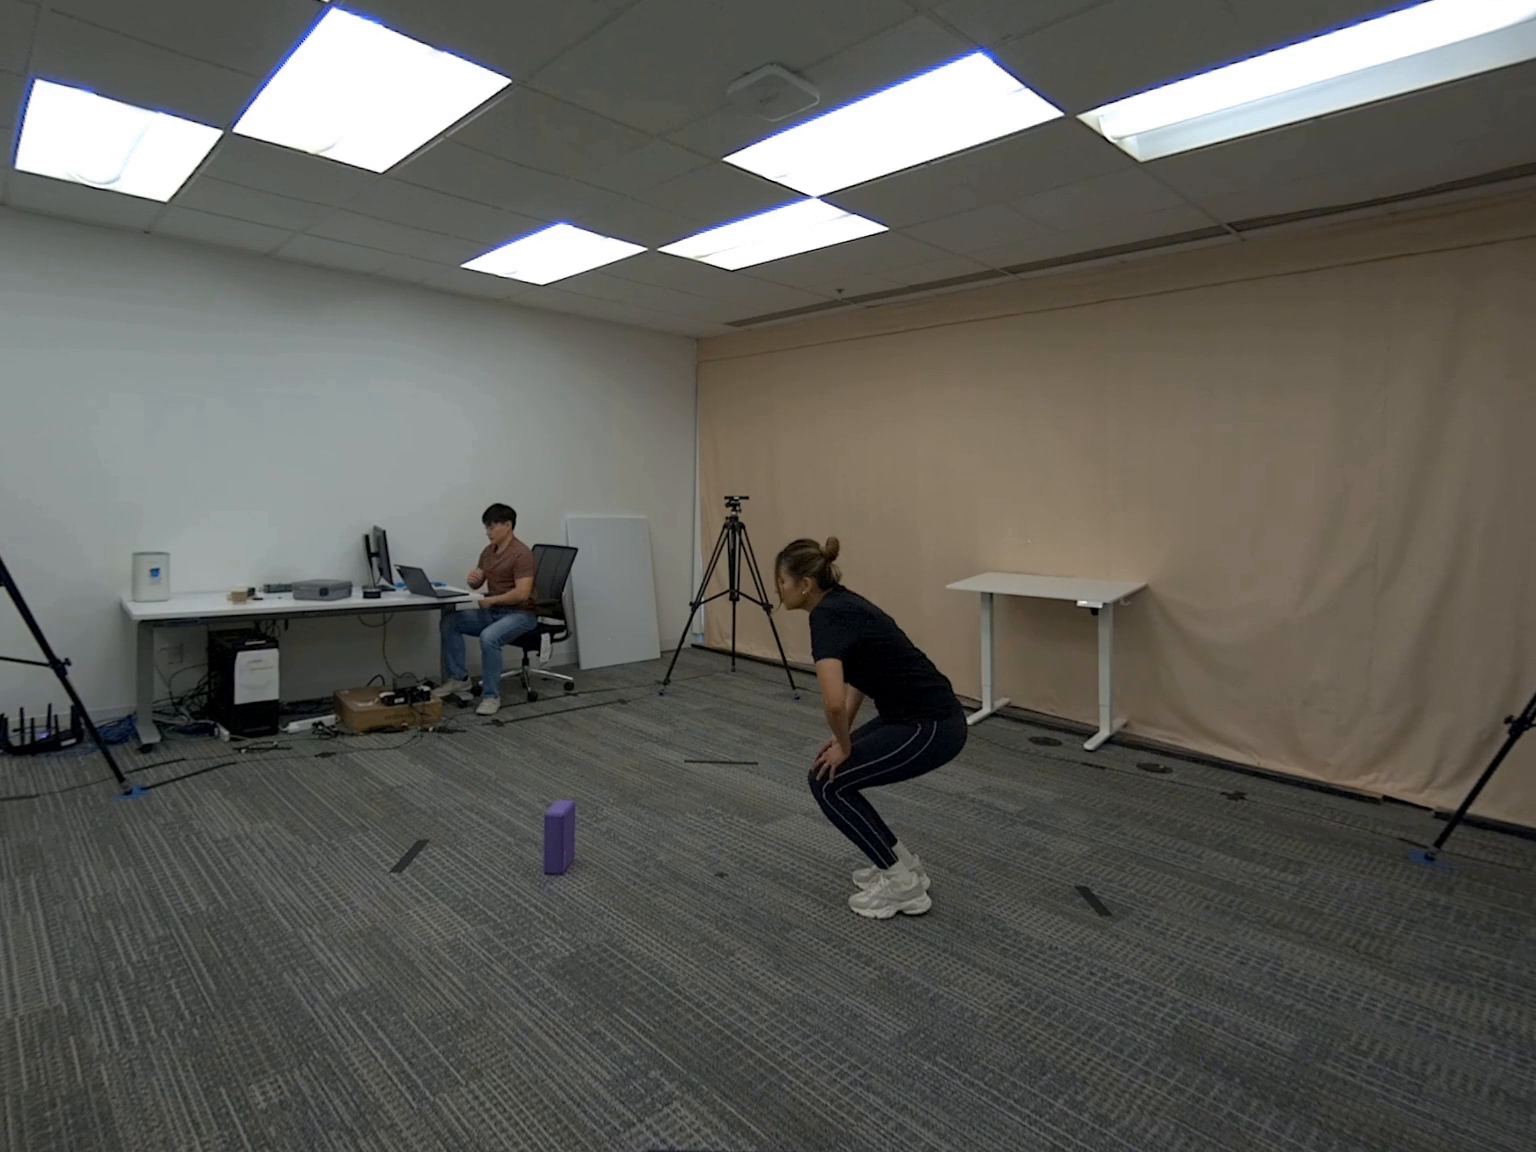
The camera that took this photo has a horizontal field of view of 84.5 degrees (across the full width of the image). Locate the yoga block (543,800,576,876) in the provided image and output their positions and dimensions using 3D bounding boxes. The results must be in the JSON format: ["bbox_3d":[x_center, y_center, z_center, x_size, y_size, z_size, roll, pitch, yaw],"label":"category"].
[{"bbox_3d":[-0.776,0.968,3.130,0.077,0.228,0.149,1,5,5],"label":"yoga block"}]
